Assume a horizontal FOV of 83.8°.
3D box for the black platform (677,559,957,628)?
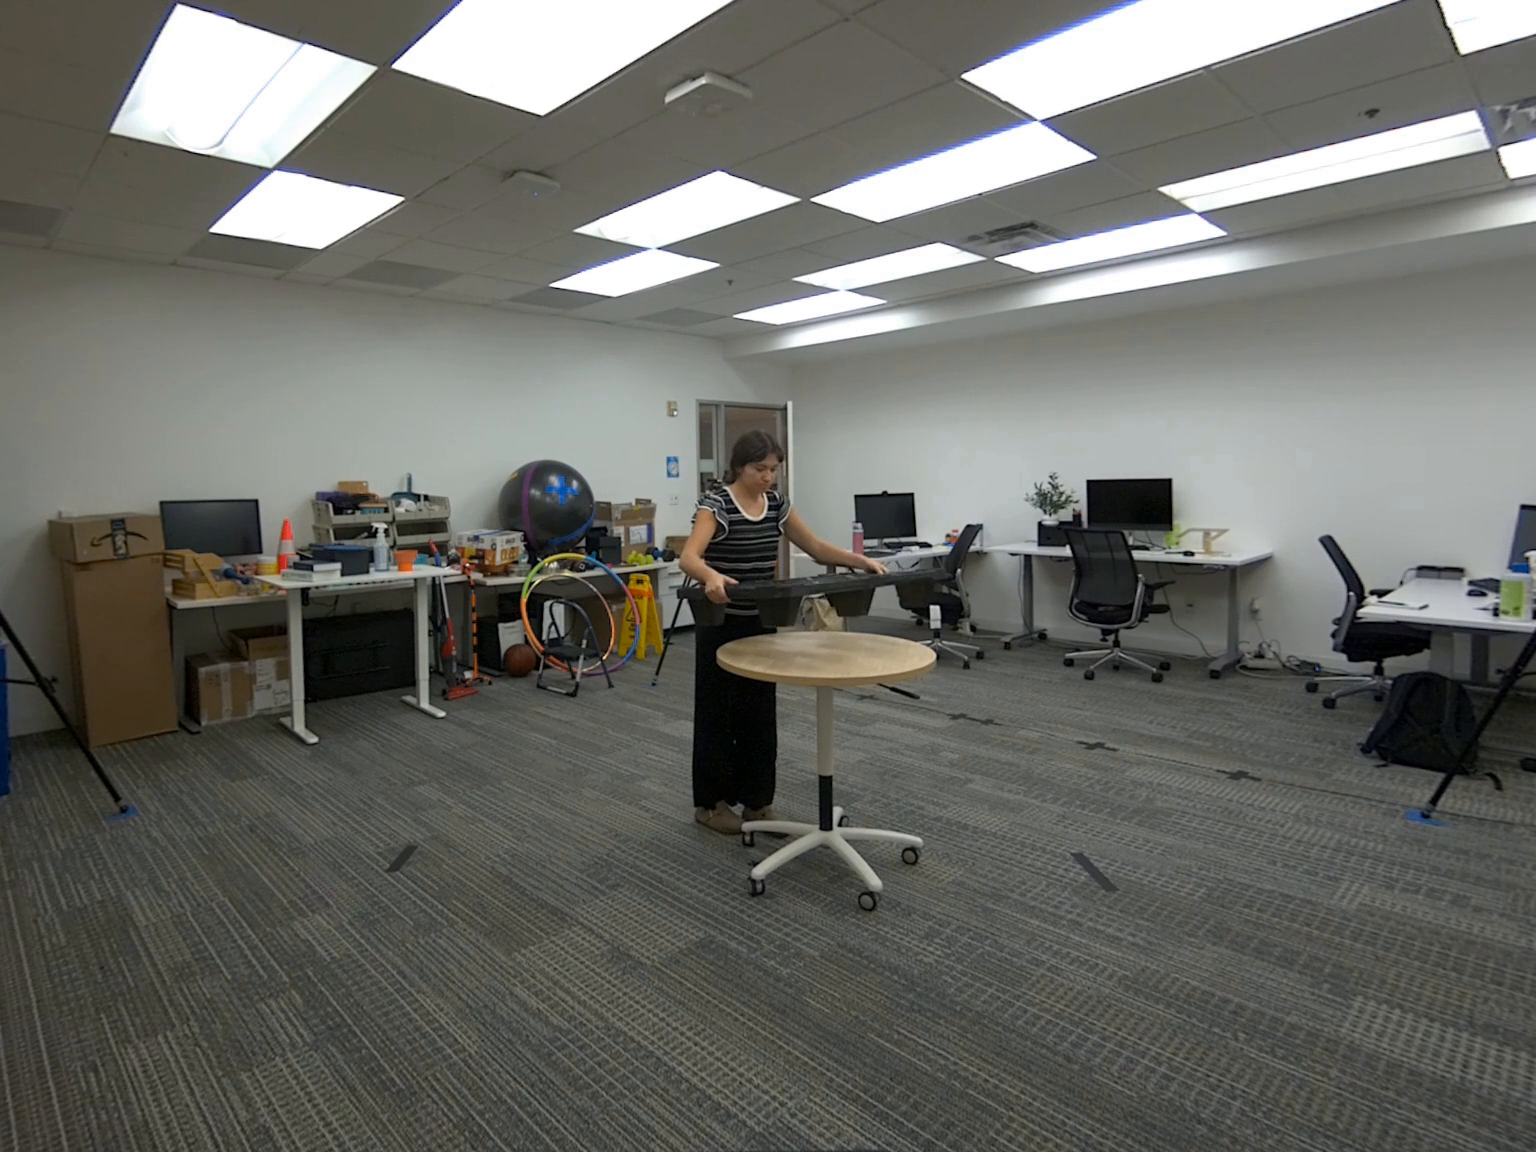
[{"bbox_3d":[0.169,0.077,3.078,0.784,0.143,0.621,-5,1,-38],"label":"black platform"}]
